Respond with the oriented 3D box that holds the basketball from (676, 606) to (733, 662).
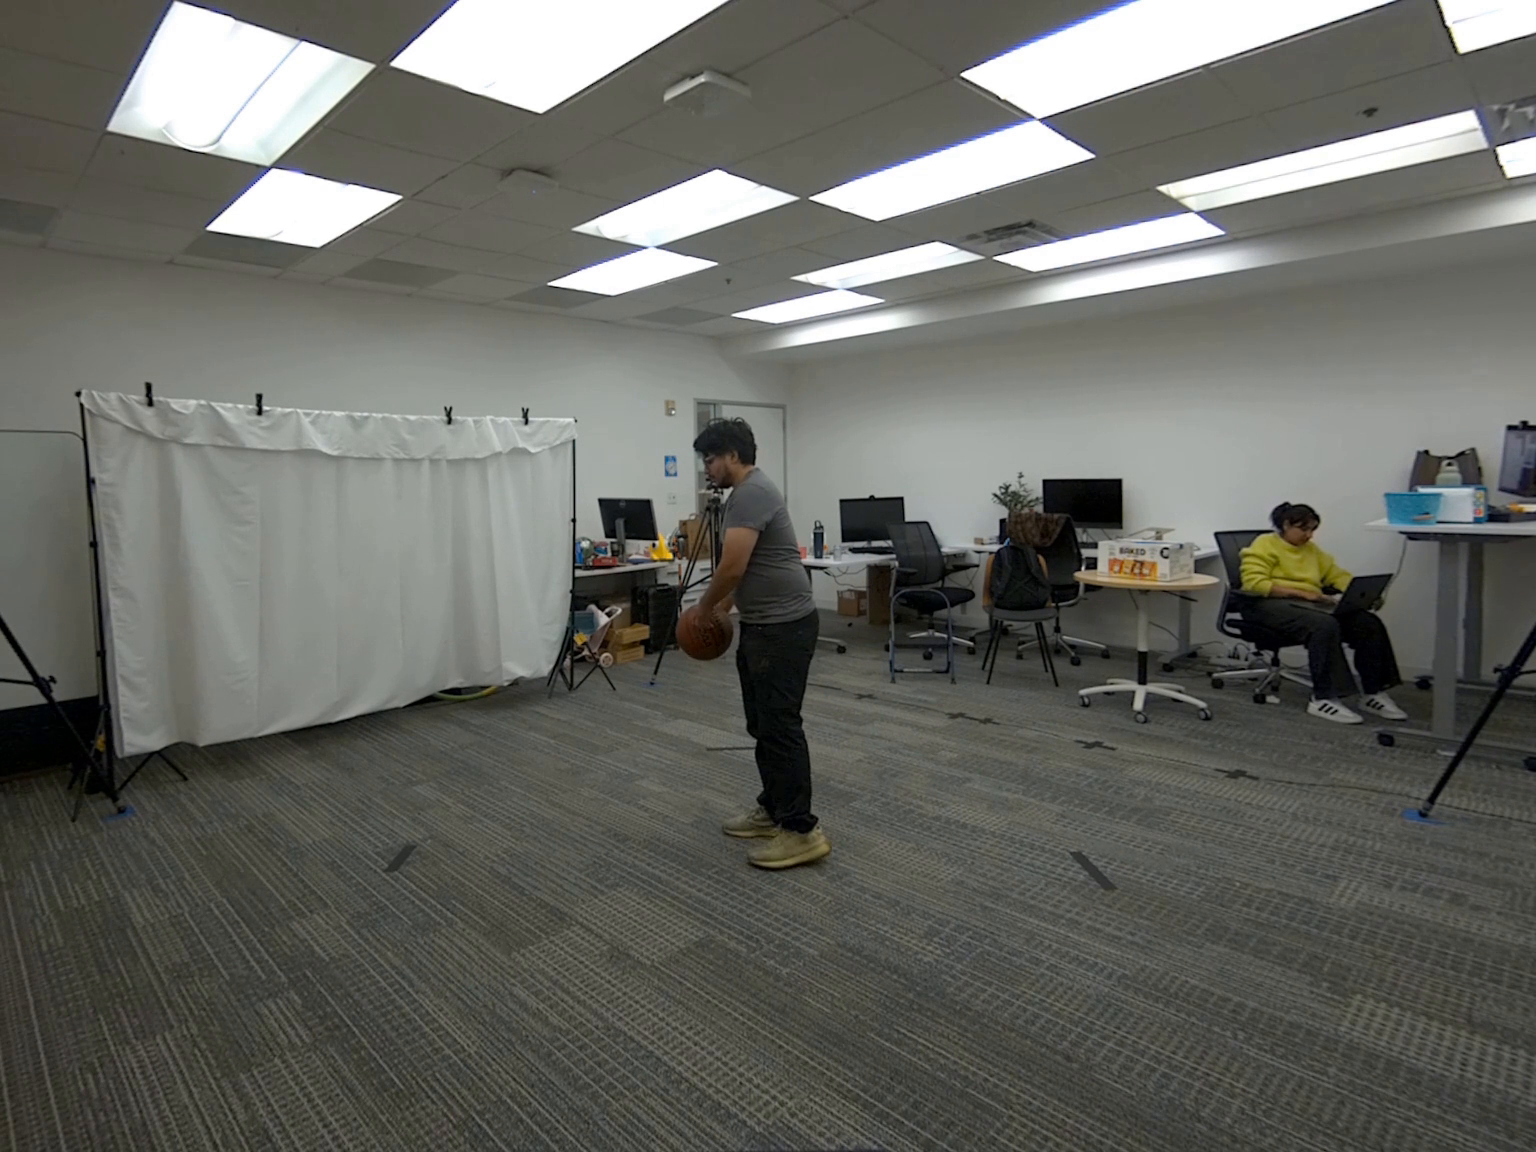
[{"bbox_3d":[-0.266,0.230,3.534,0.236,0.235,0.237,-1,5,-2],"label":"basketball"}]
